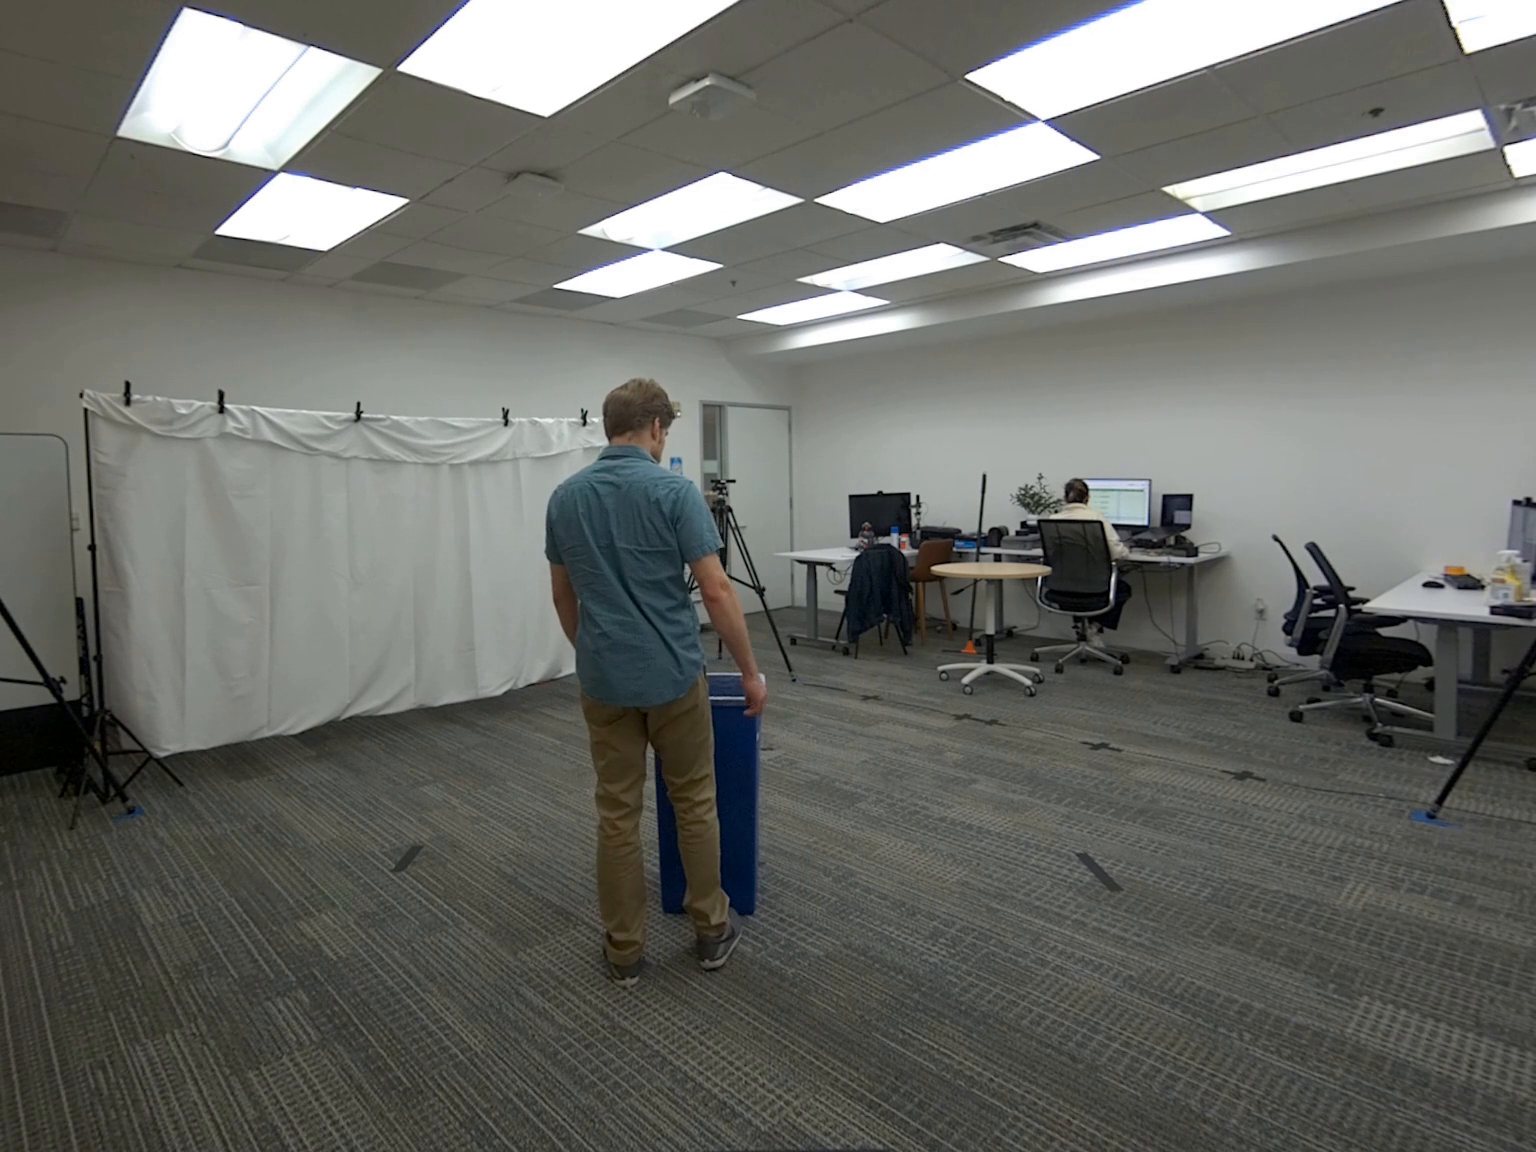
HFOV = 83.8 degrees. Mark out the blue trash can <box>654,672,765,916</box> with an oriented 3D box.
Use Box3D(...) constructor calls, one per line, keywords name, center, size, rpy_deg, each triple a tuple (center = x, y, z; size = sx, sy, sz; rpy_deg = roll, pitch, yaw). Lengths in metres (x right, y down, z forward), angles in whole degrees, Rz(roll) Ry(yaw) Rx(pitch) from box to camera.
Box3D(name="blue trash can", center=(-0.181, 0.723, 2.878), size=(0.375, 0.711, 0.378), rpy_deg=(-1, 4, 2))
